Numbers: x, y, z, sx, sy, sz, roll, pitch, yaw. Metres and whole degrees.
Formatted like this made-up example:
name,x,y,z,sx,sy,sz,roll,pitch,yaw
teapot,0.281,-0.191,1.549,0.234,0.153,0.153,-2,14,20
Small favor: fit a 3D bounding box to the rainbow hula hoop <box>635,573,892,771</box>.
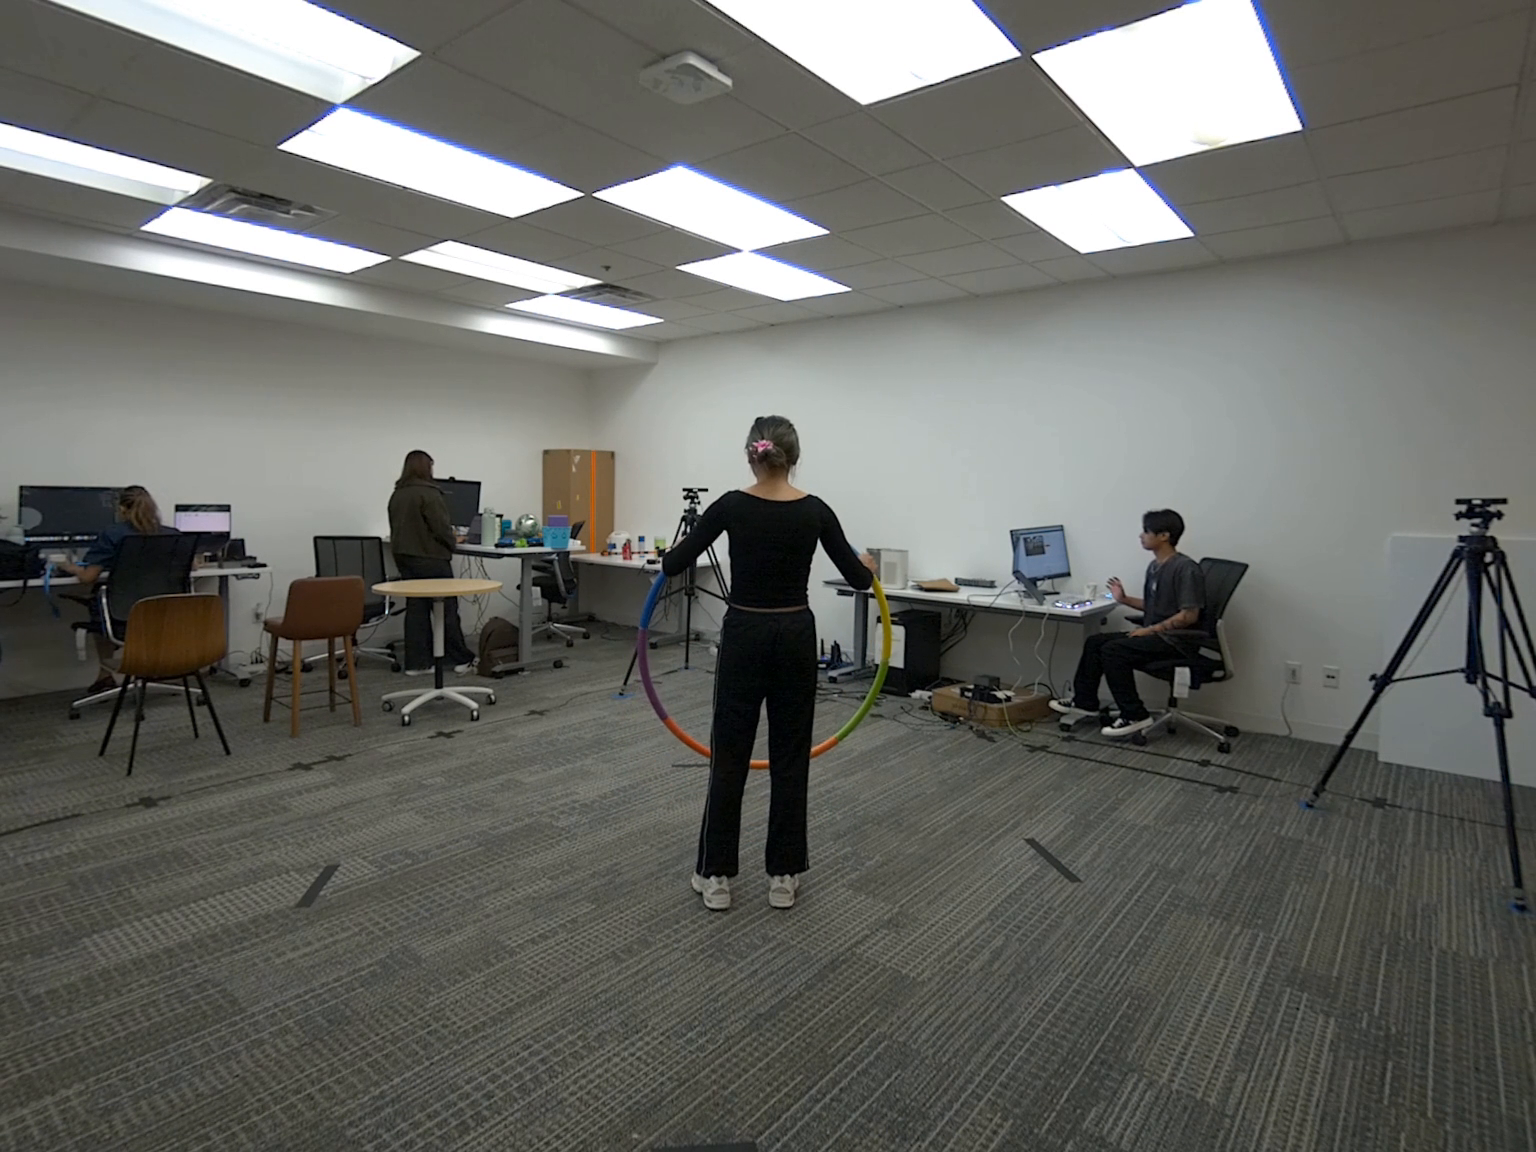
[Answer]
name,x,y,z,sx,sy,sz,roll,pitch,yaw
rainbow hula hoop,-0.023,0.264,3.241,0.973,0.972,0.036,1,7,-4
